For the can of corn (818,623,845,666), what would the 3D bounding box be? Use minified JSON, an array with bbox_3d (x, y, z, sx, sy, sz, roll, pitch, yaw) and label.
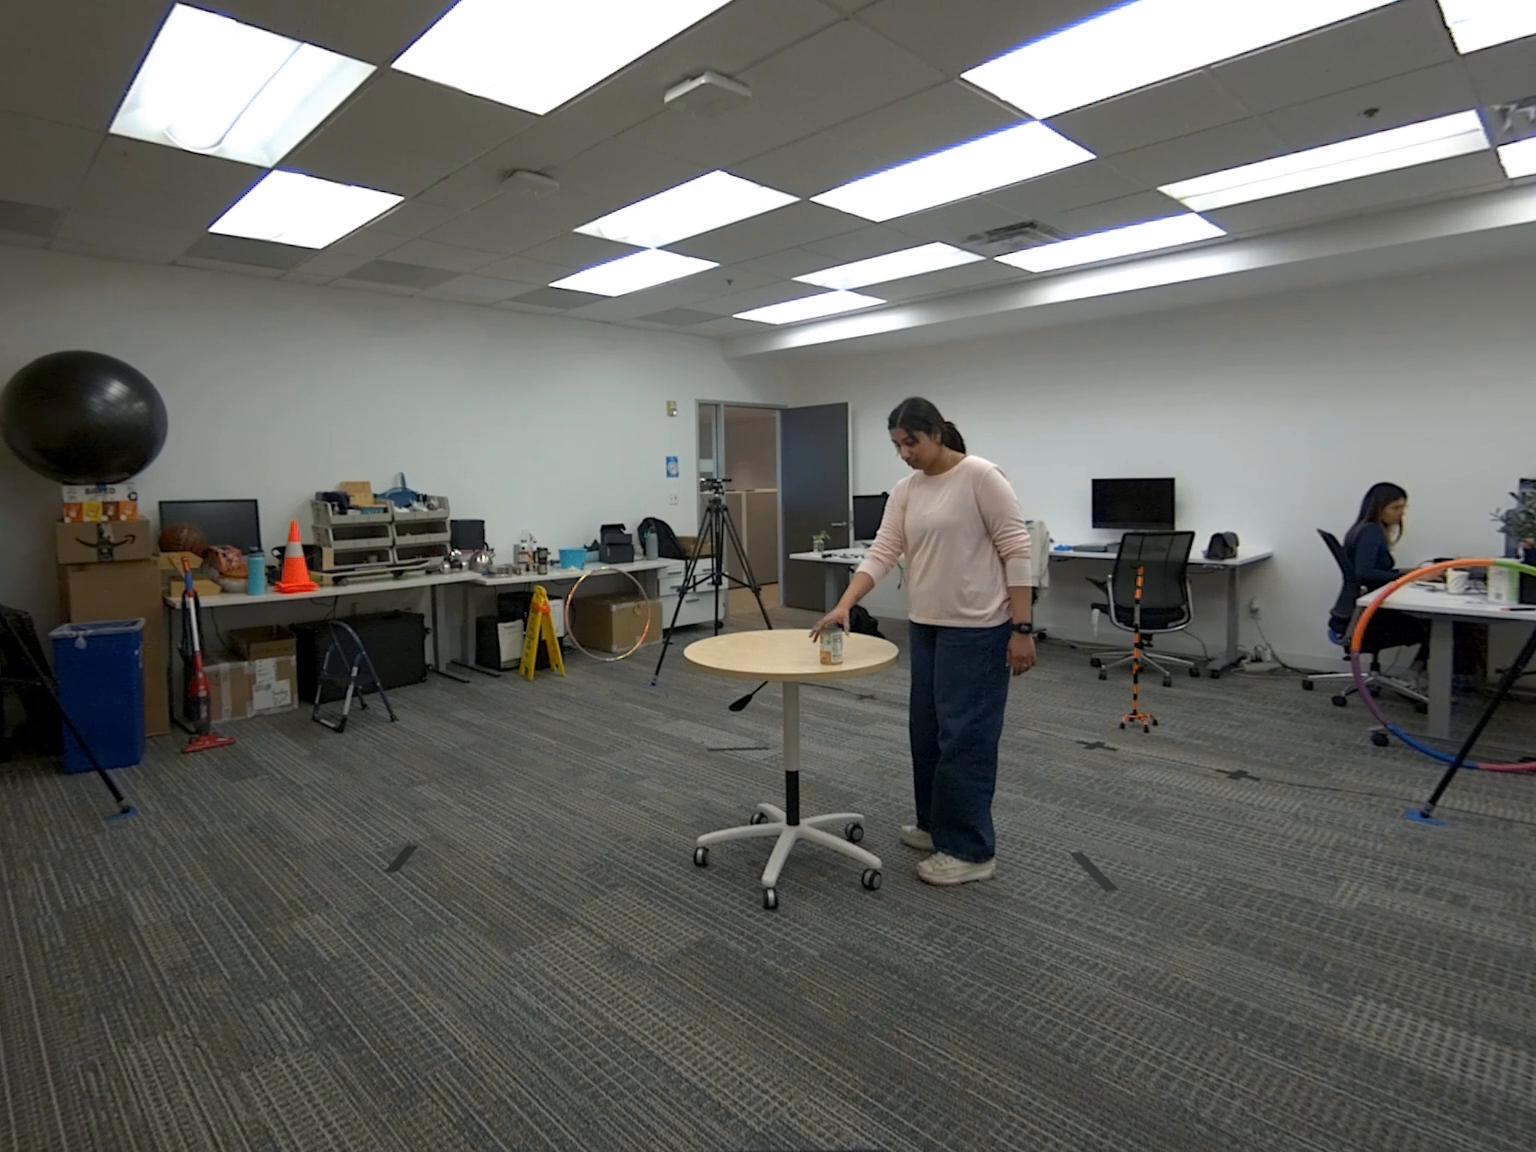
[{"bbox_3d":[0.221,0.231,2.822,0.074,0.110,0.074,-5,5,-1],"label":"can of corn"}]
